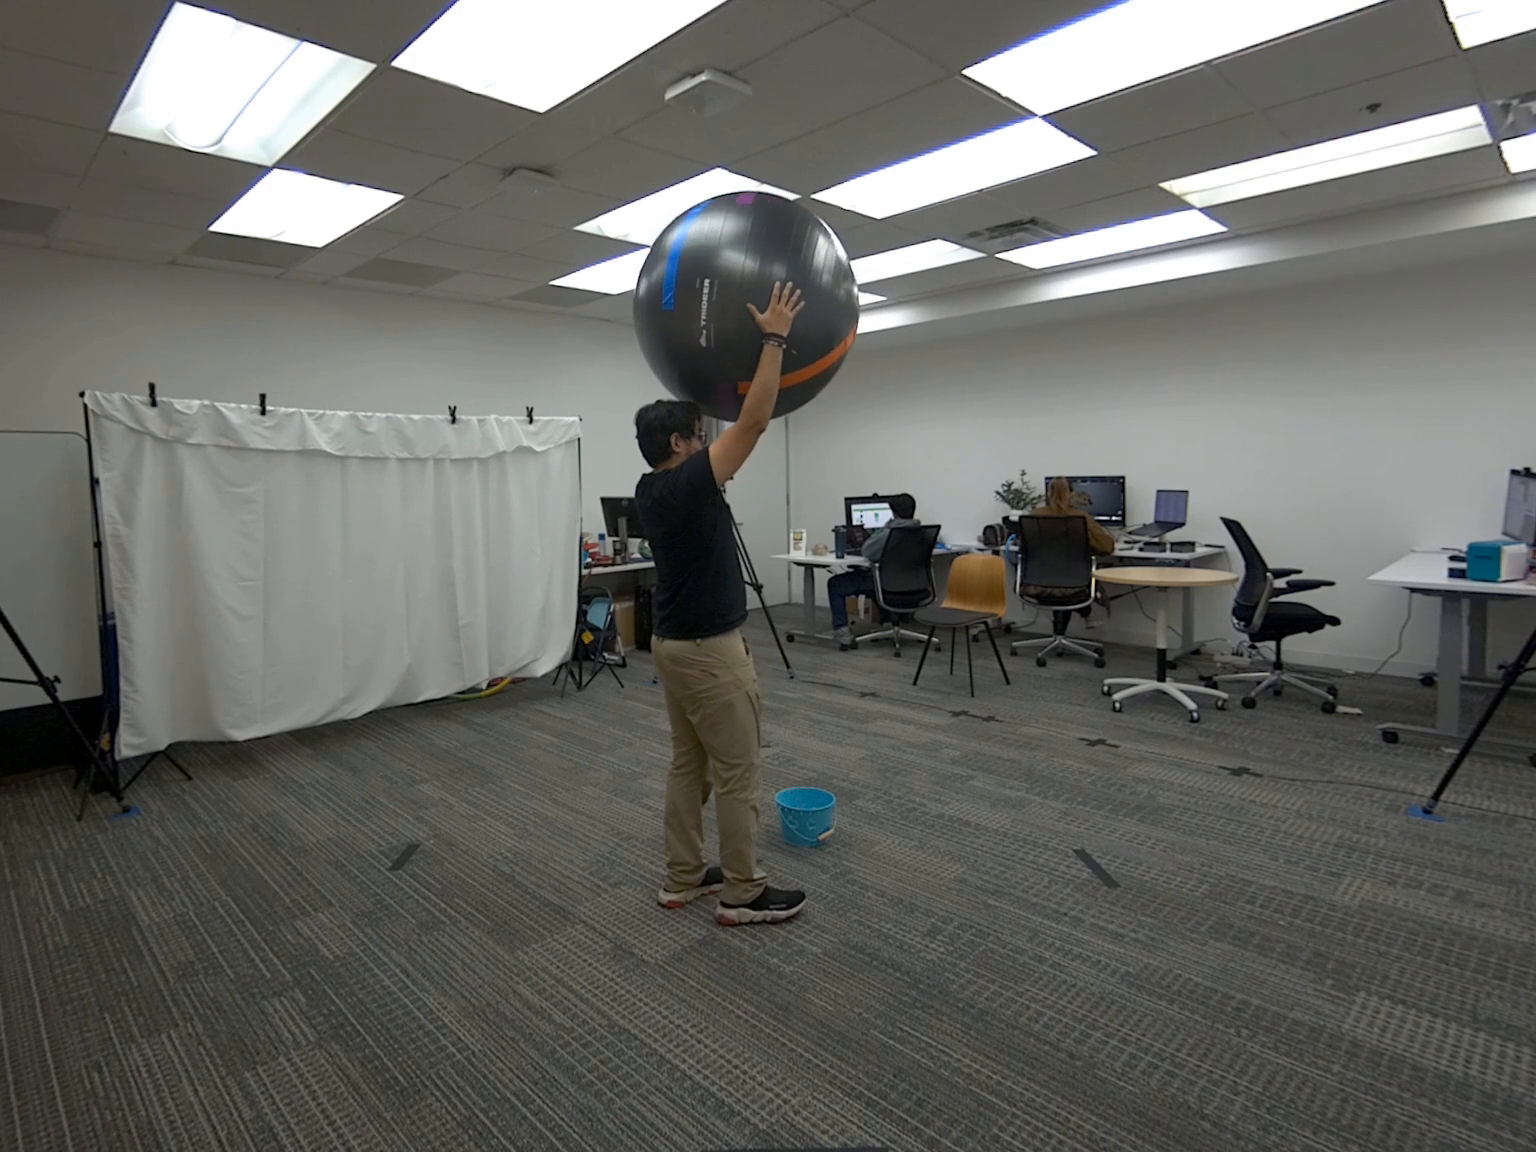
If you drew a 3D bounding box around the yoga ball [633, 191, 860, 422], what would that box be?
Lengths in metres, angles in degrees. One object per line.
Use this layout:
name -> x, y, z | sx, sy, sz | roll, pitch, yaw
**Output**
yoga ball -> -0.069, -0.898, 2.898 | 0.757, 0.755, 0.762 | -1, 5, -2
